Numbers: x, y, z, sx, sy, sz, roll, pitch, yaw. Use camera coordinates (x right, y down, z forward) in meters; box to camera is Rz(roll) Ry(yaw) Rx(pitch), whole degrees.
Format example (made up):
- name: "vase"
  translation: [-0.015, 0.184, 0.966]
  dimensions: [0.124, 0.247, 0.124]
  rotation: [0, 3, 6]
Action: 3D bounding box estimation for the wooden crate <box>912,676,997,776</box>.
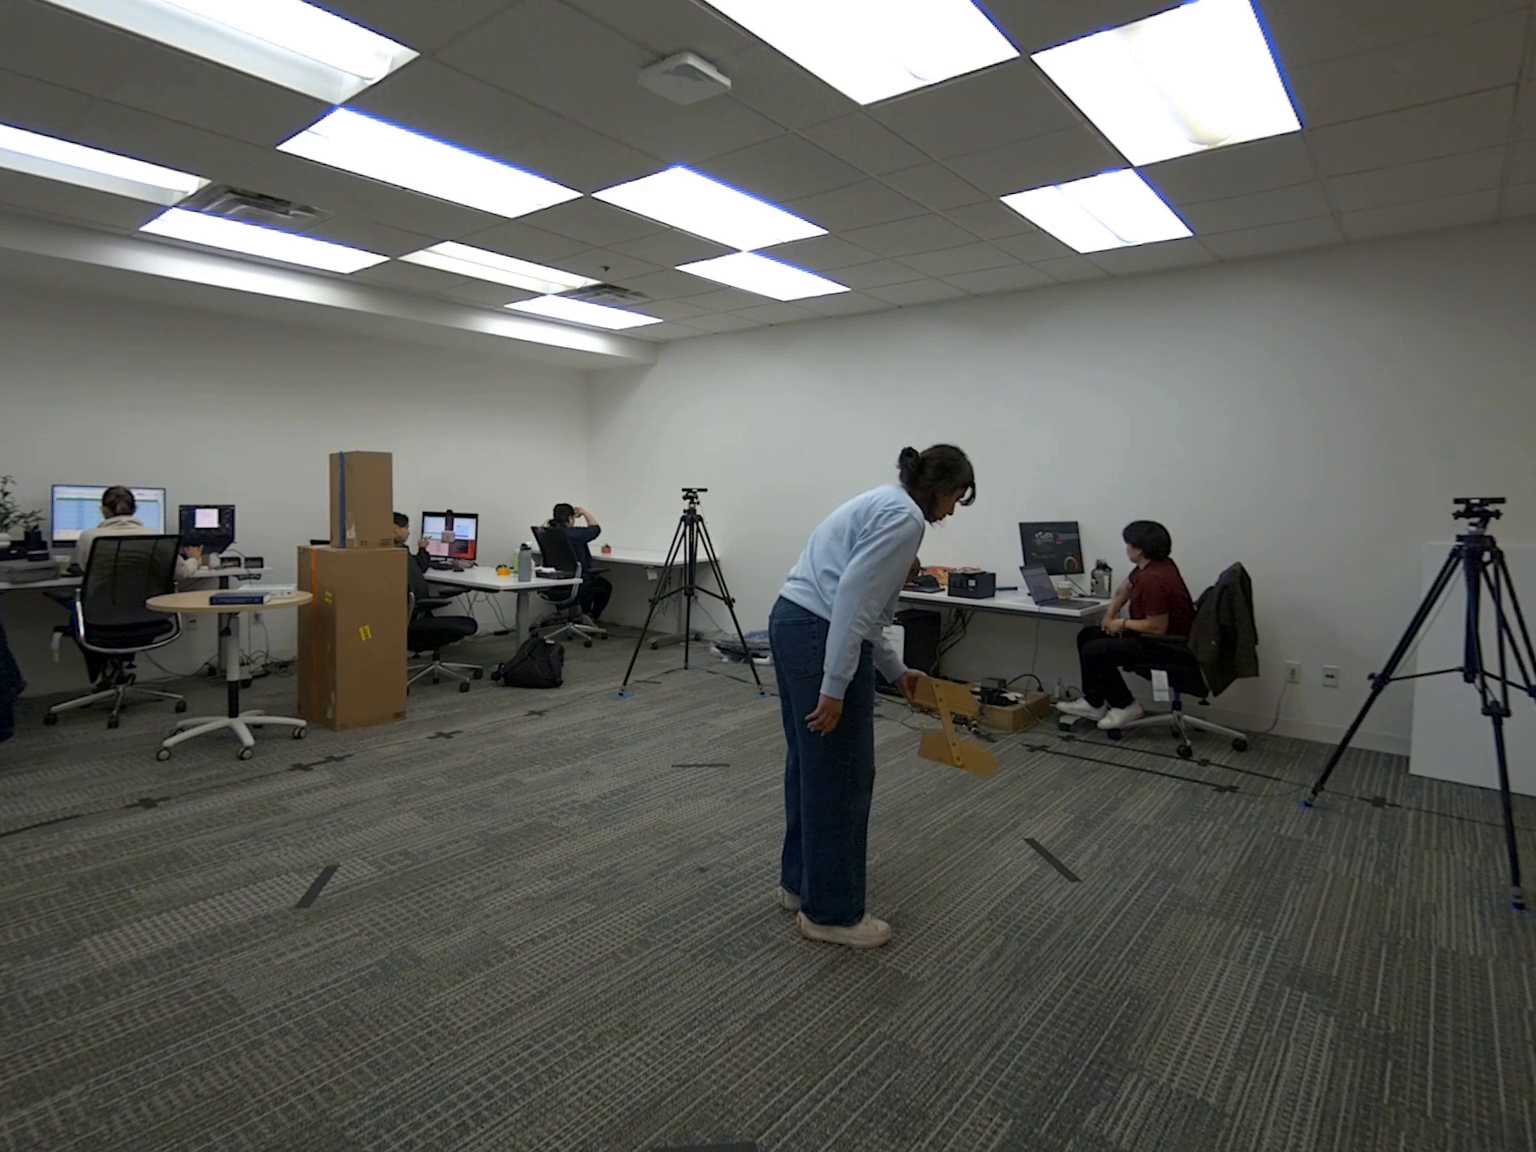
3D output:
- name: "wooden crate"
  translation: [0.635, 0.503, 2.915]
  dimensions: [0.306, 0.275, 0.318]
  rotation: [10, -8, 11]
